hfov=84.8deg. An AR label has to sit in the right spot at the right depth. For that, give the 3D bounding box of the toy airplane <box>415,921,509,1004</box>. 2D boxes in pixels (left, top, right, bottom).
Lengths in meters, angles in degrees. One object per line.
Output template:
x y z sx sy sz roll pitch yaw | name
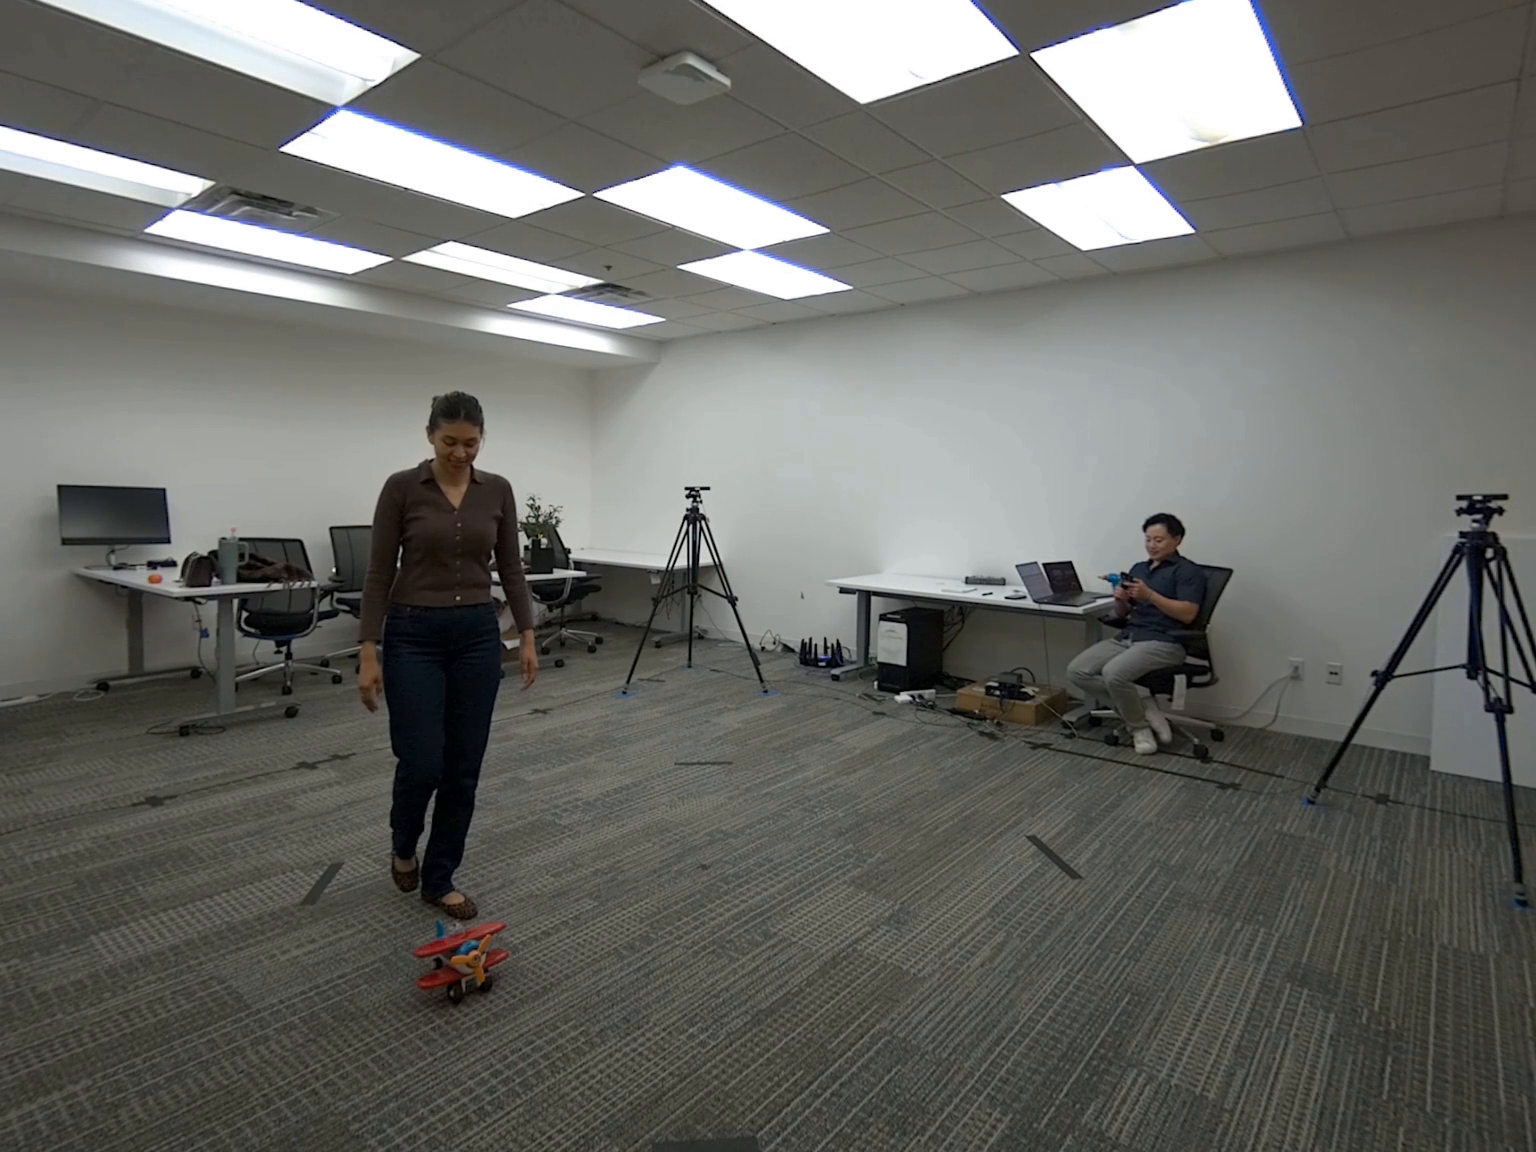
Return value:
-0.886 1.059 2.357 0.265 0.156 0.247 3 6 20 | toy airplane
